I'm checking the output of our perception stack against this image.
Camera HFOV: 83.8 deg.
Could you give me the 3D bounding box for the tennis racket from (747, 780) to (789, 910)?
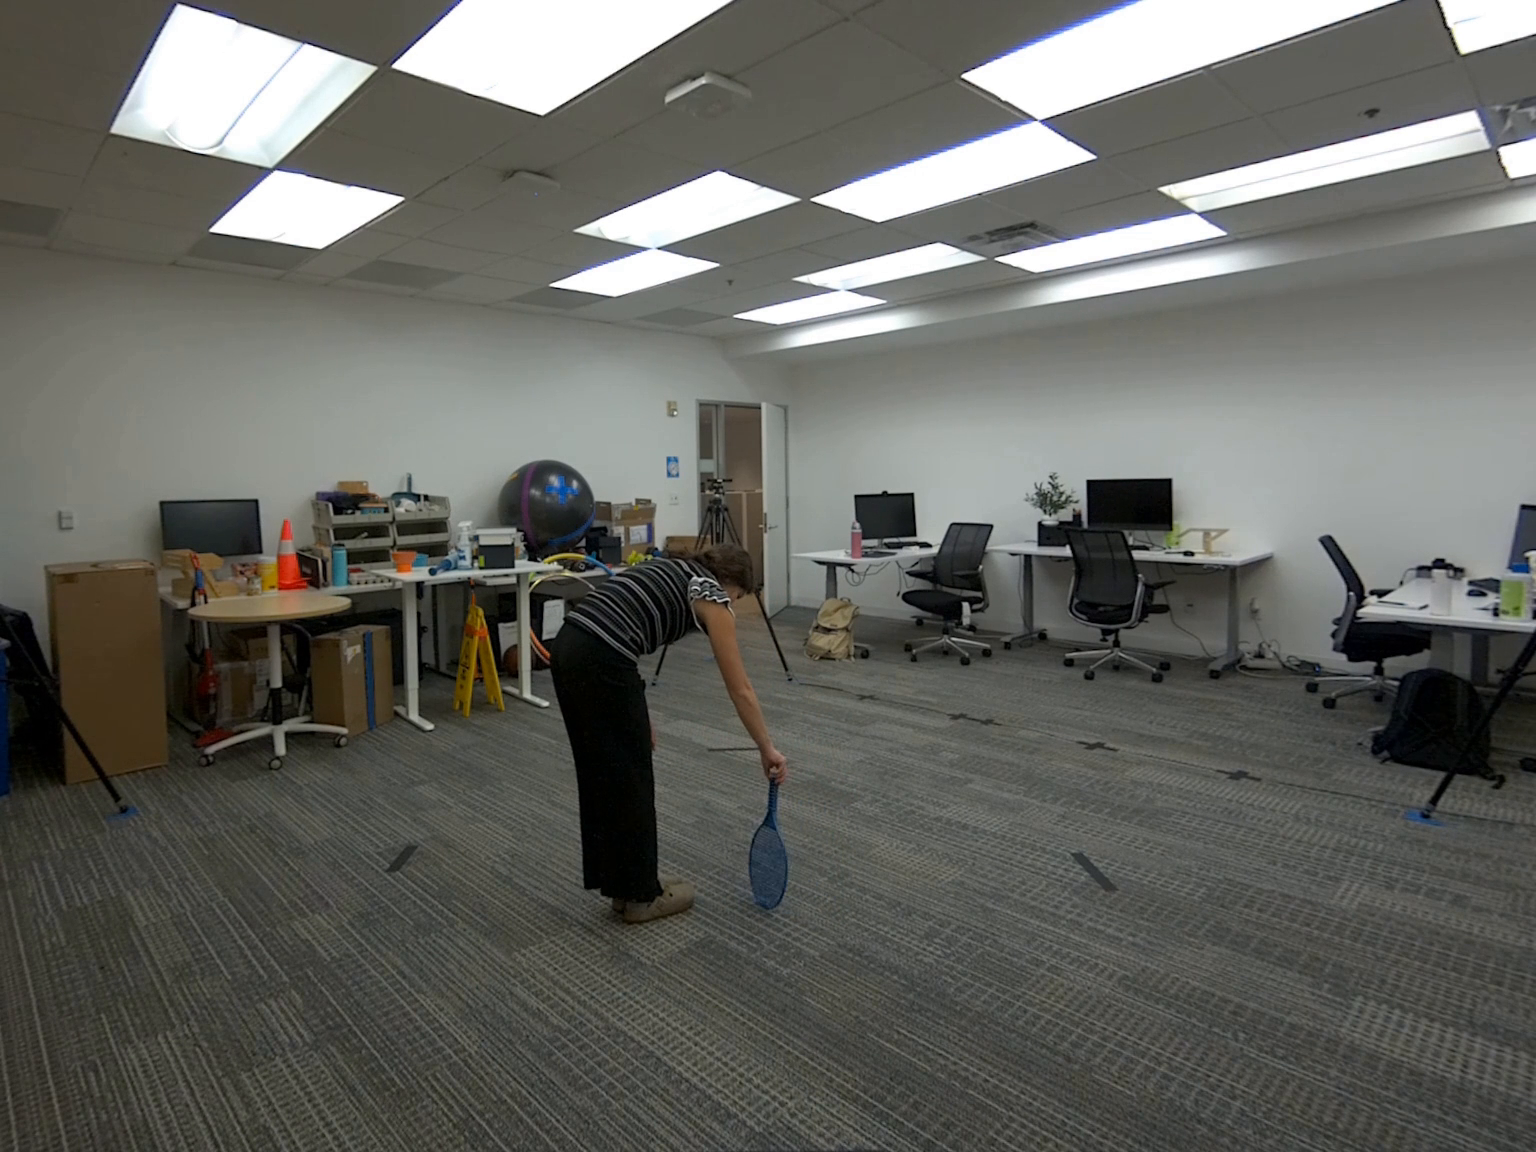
[{"bbox_3d":[-0.001,0.863,2.802,0.031,0.434,0.219,4,-3,-36],"label":"tennis racket"}]
